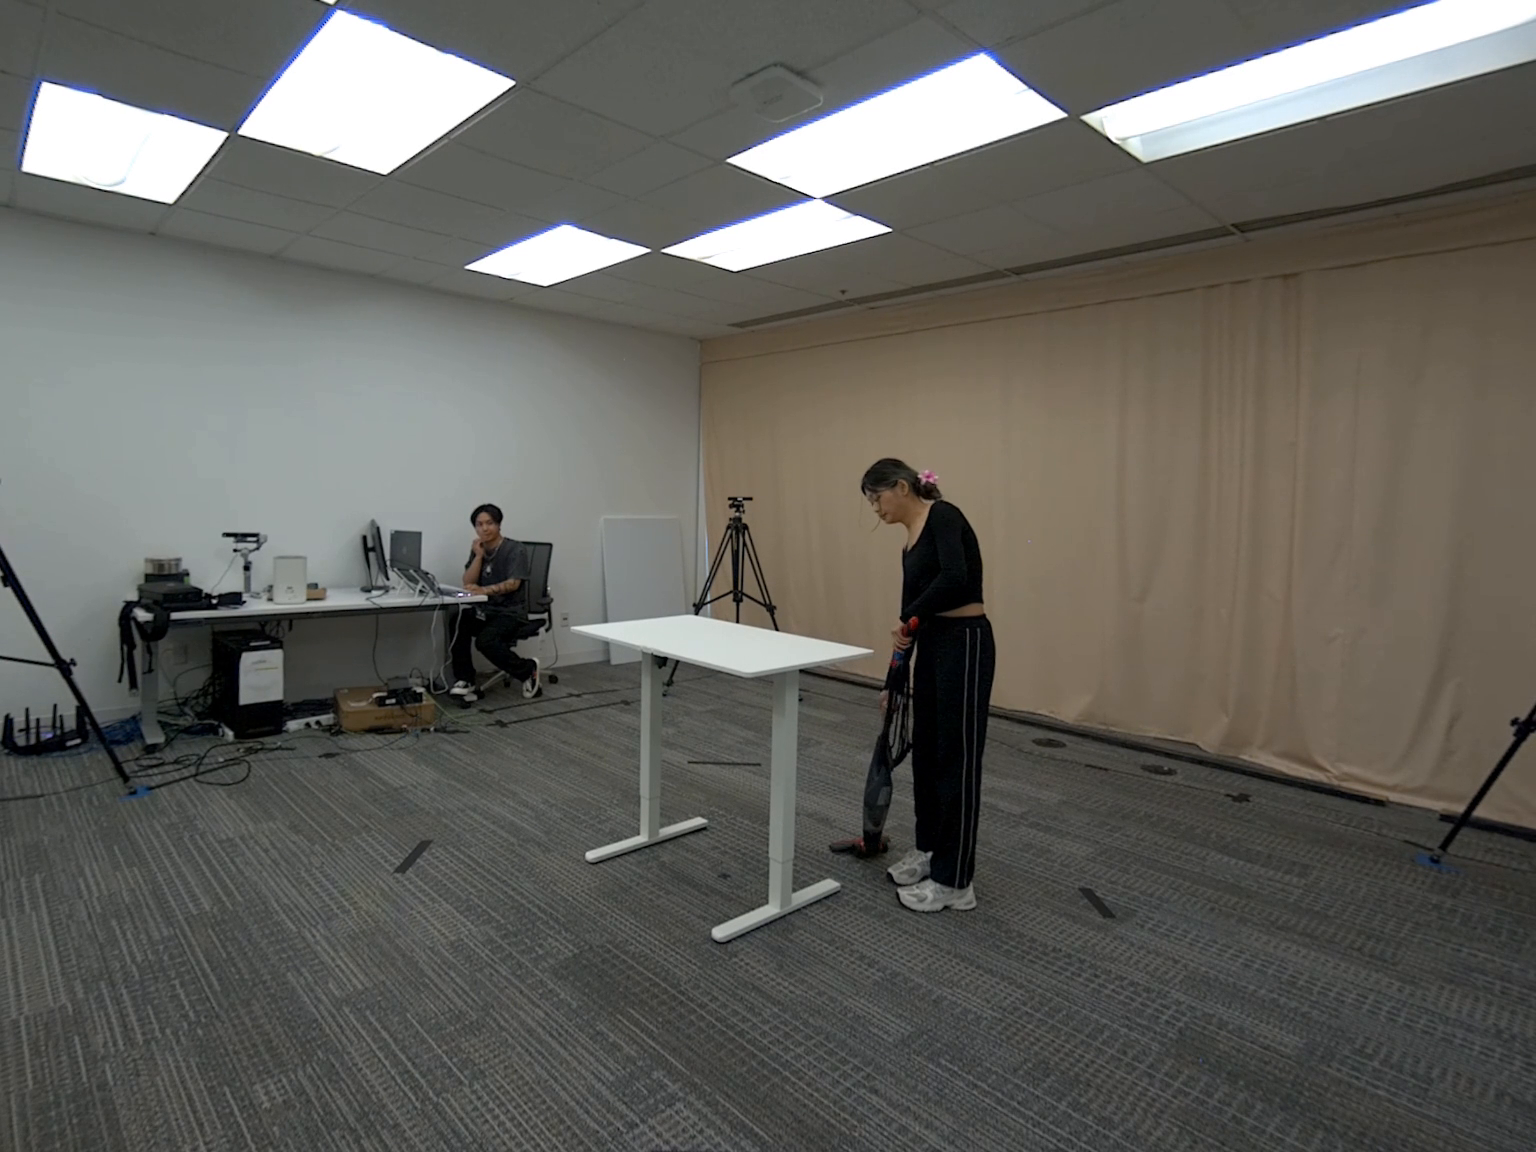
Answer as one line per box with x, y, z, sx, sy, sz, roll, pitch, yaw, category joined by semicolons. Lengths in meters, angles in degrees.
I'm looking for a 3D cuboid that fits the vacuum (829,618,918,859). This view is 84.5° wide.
0.421;0.615;3.136;0.250;1.034;0.147;0;23;-13;vacuum
